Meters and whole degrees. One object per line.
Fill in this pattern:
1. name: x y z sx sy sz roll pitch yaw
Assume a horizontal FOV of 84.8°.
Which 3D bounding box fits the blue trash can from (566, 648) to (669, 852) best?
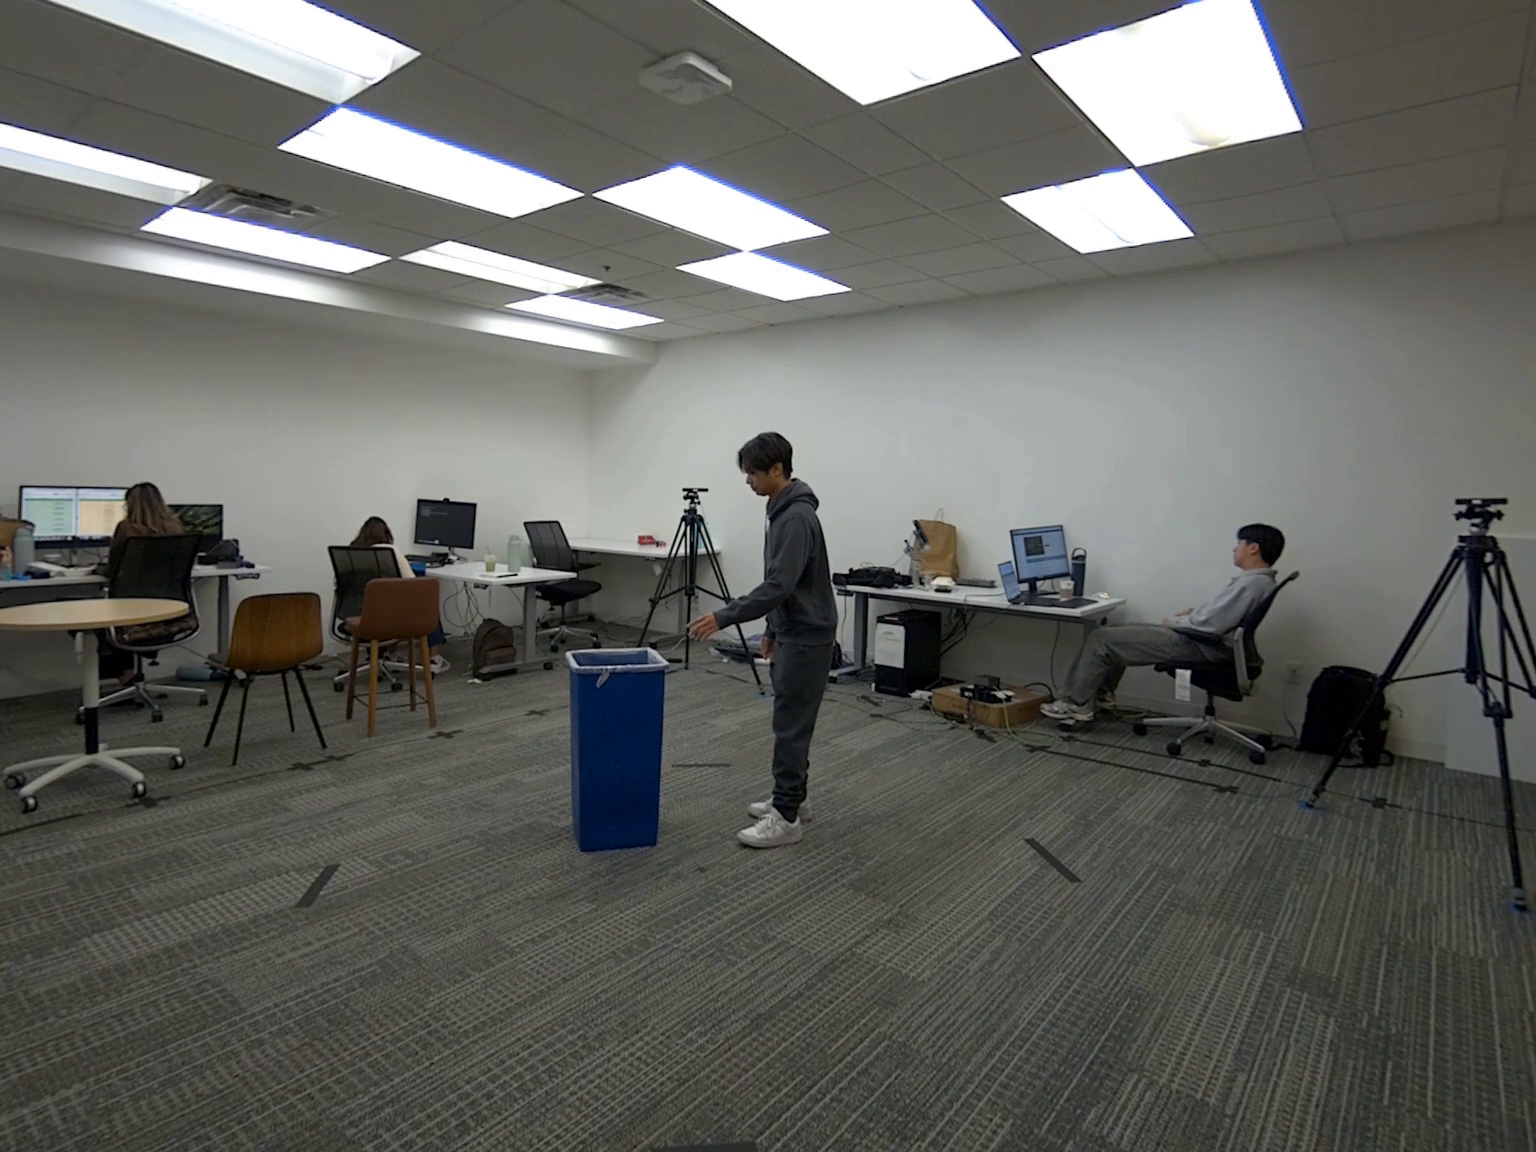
1. blue trash can: -0.632 0.676 3.406 0.372 0.712 0.382 1 3 -17
